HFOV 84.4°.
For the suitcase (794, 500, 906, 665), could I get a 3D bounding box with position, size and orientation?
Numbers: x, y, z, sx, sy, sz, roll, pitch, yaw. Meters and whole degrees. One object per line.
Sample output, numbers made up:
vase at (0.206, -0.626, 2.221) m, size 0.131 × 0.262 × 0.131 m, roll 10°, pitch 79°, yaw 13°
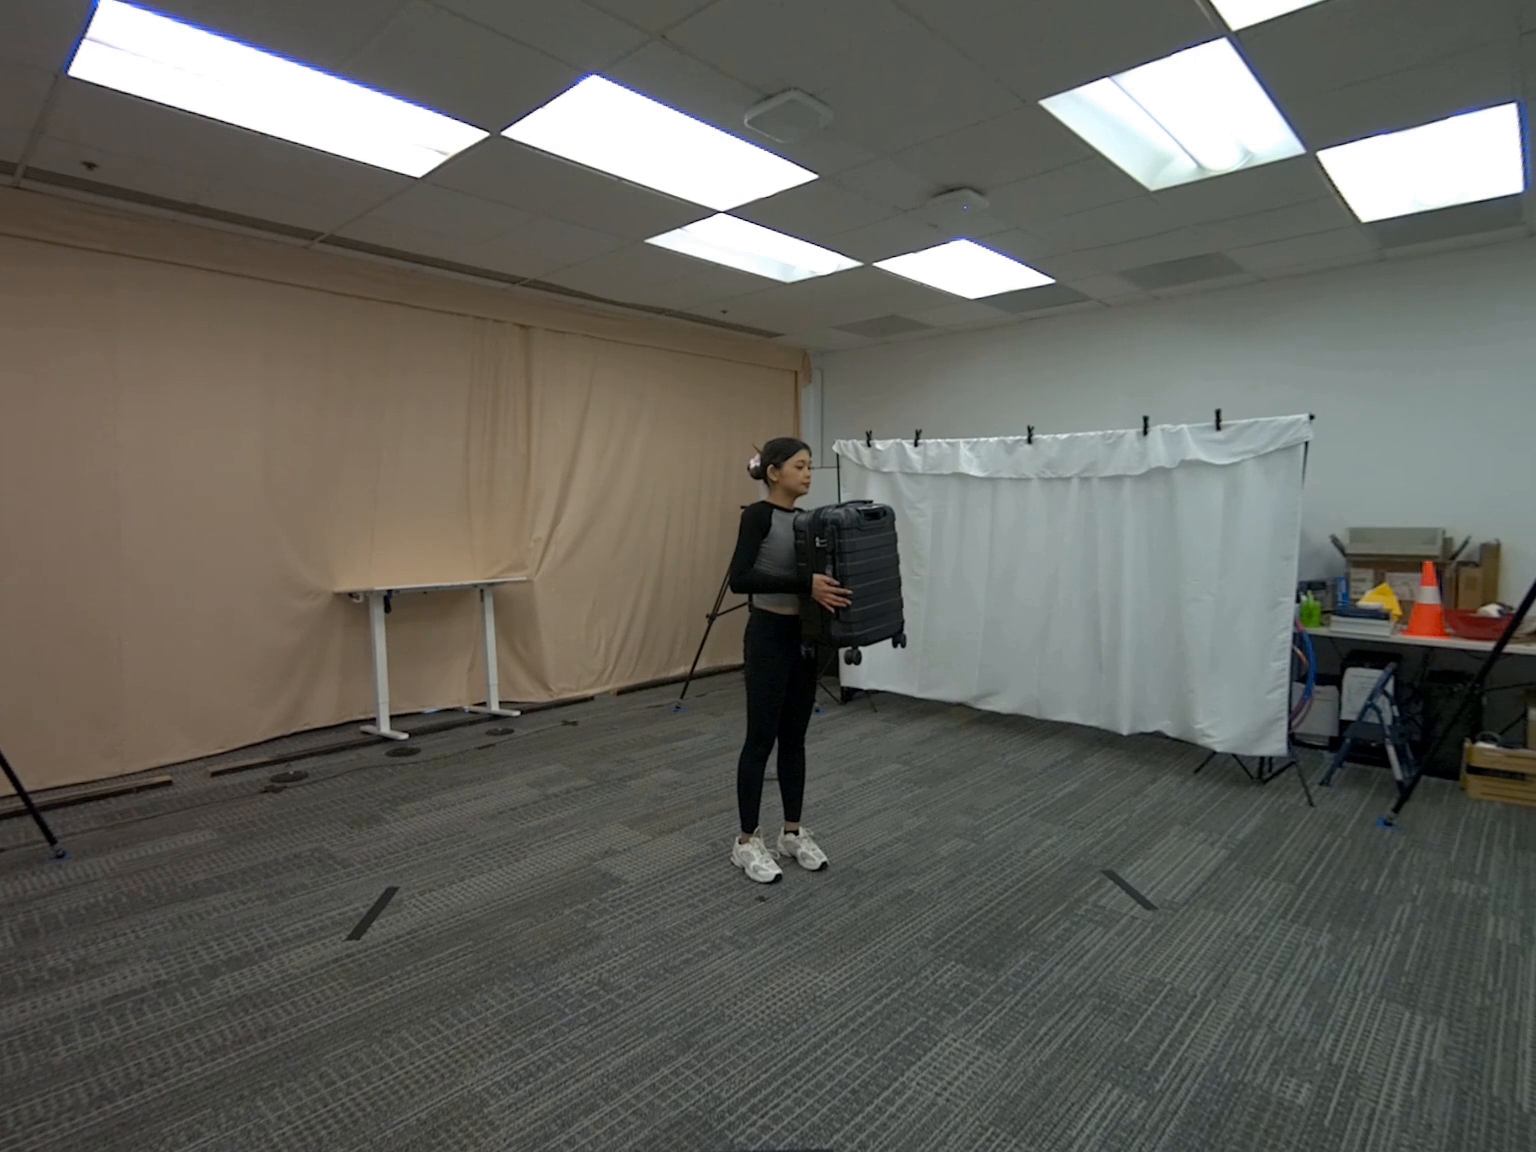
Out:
suitcase at (0.302, 0.008, 3.044) m, size 0.256 × 0.548 × 0.365 m, roll -2°, pitch 6°, yaw 44°
